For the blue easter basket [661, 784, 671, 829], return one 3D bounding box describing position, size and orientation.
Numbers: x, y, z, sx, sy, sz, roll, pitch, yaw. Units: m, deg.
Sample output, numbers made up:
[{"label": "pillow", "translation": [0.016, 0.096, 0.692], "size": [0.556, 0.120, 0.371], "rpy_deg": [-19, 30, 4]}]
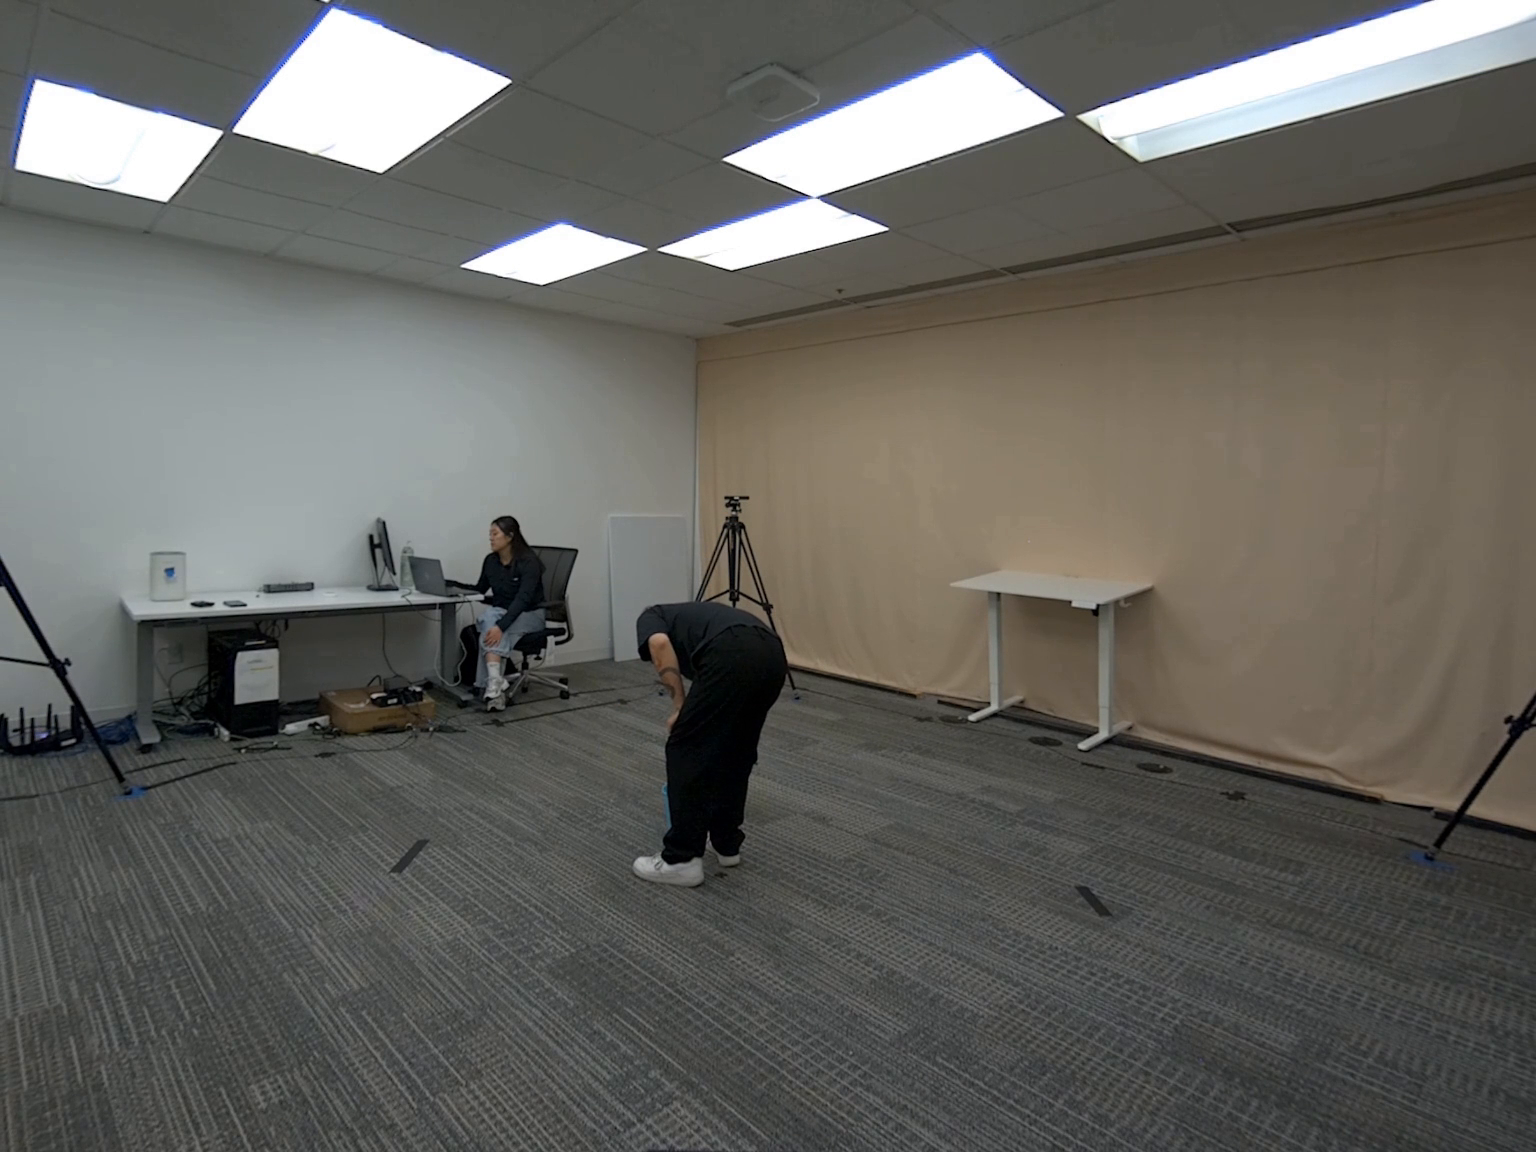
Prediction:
[{"label": "blue easter basket", "translation": [-0.337, 0.982, 3.586], "size": [0.243, 0.155, 0.244], "rpy_deg": [1, 4, -1]}]
